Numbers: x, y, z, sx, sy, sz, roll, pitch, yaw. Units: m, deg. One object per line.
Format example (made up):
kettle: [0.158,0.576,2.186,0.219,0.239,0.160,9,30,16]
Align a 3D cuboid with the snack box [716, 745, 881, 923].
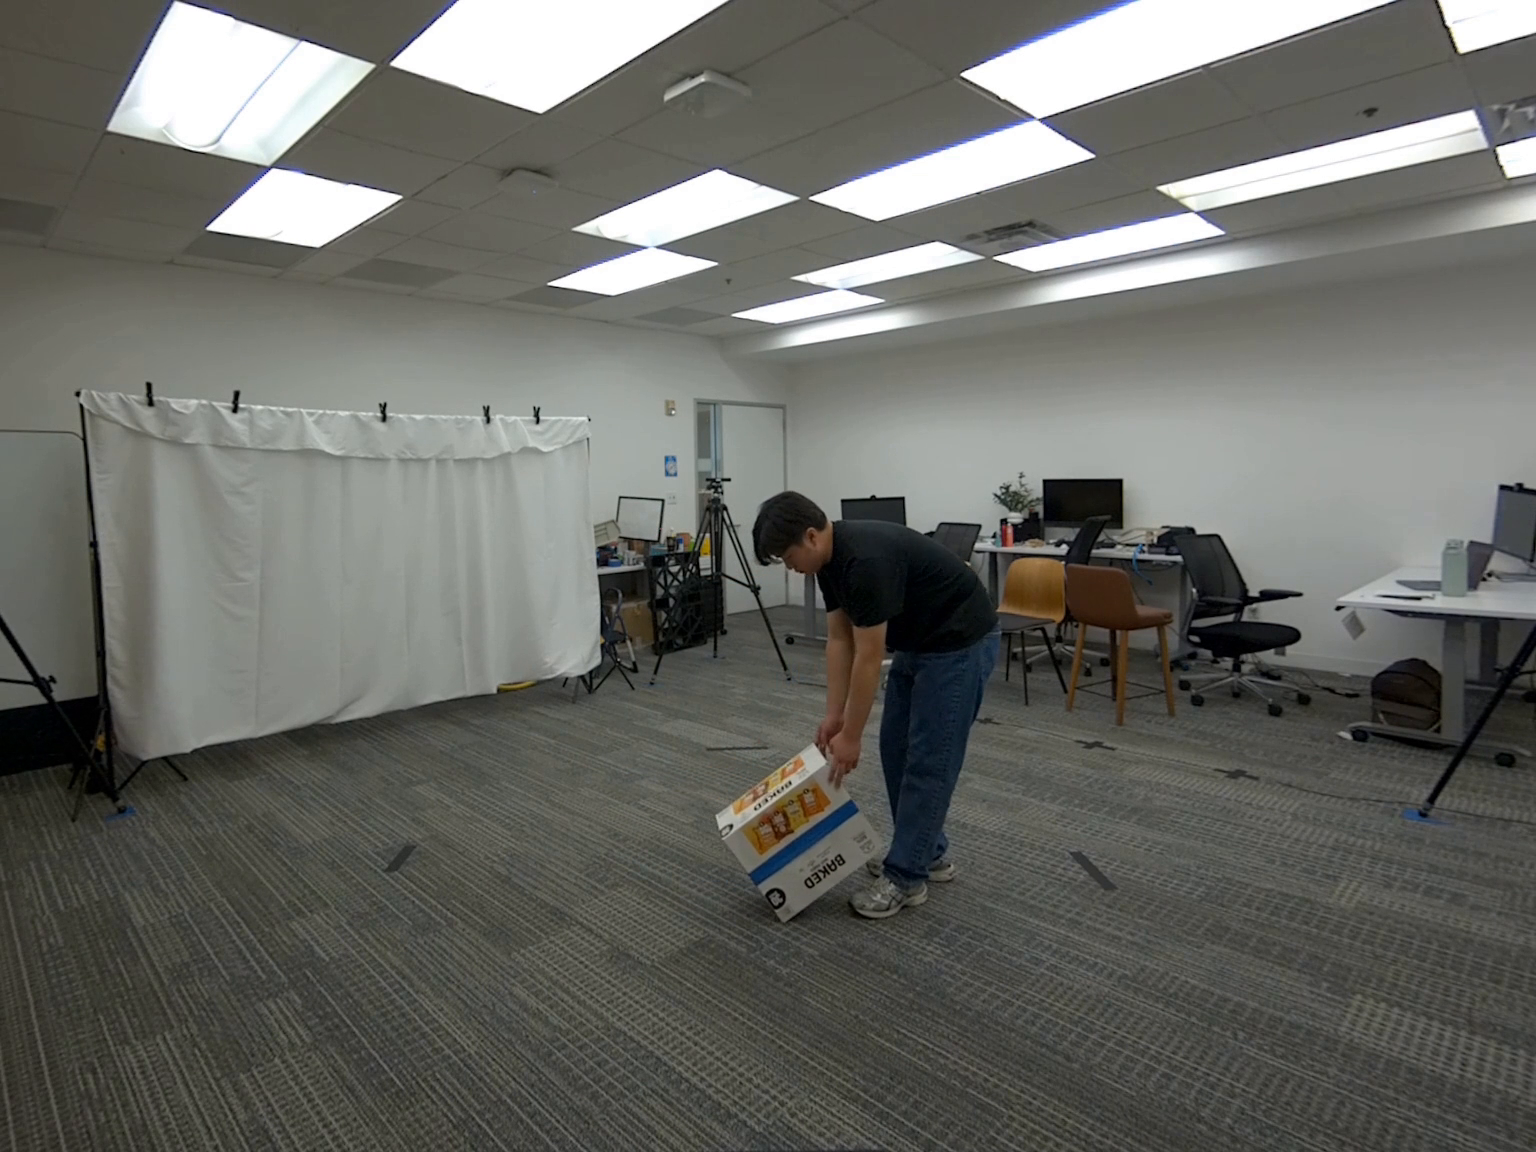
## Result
snack box: [0.106,0.825,2.766,0.405,0.337,0.208,-35,7,-3]
